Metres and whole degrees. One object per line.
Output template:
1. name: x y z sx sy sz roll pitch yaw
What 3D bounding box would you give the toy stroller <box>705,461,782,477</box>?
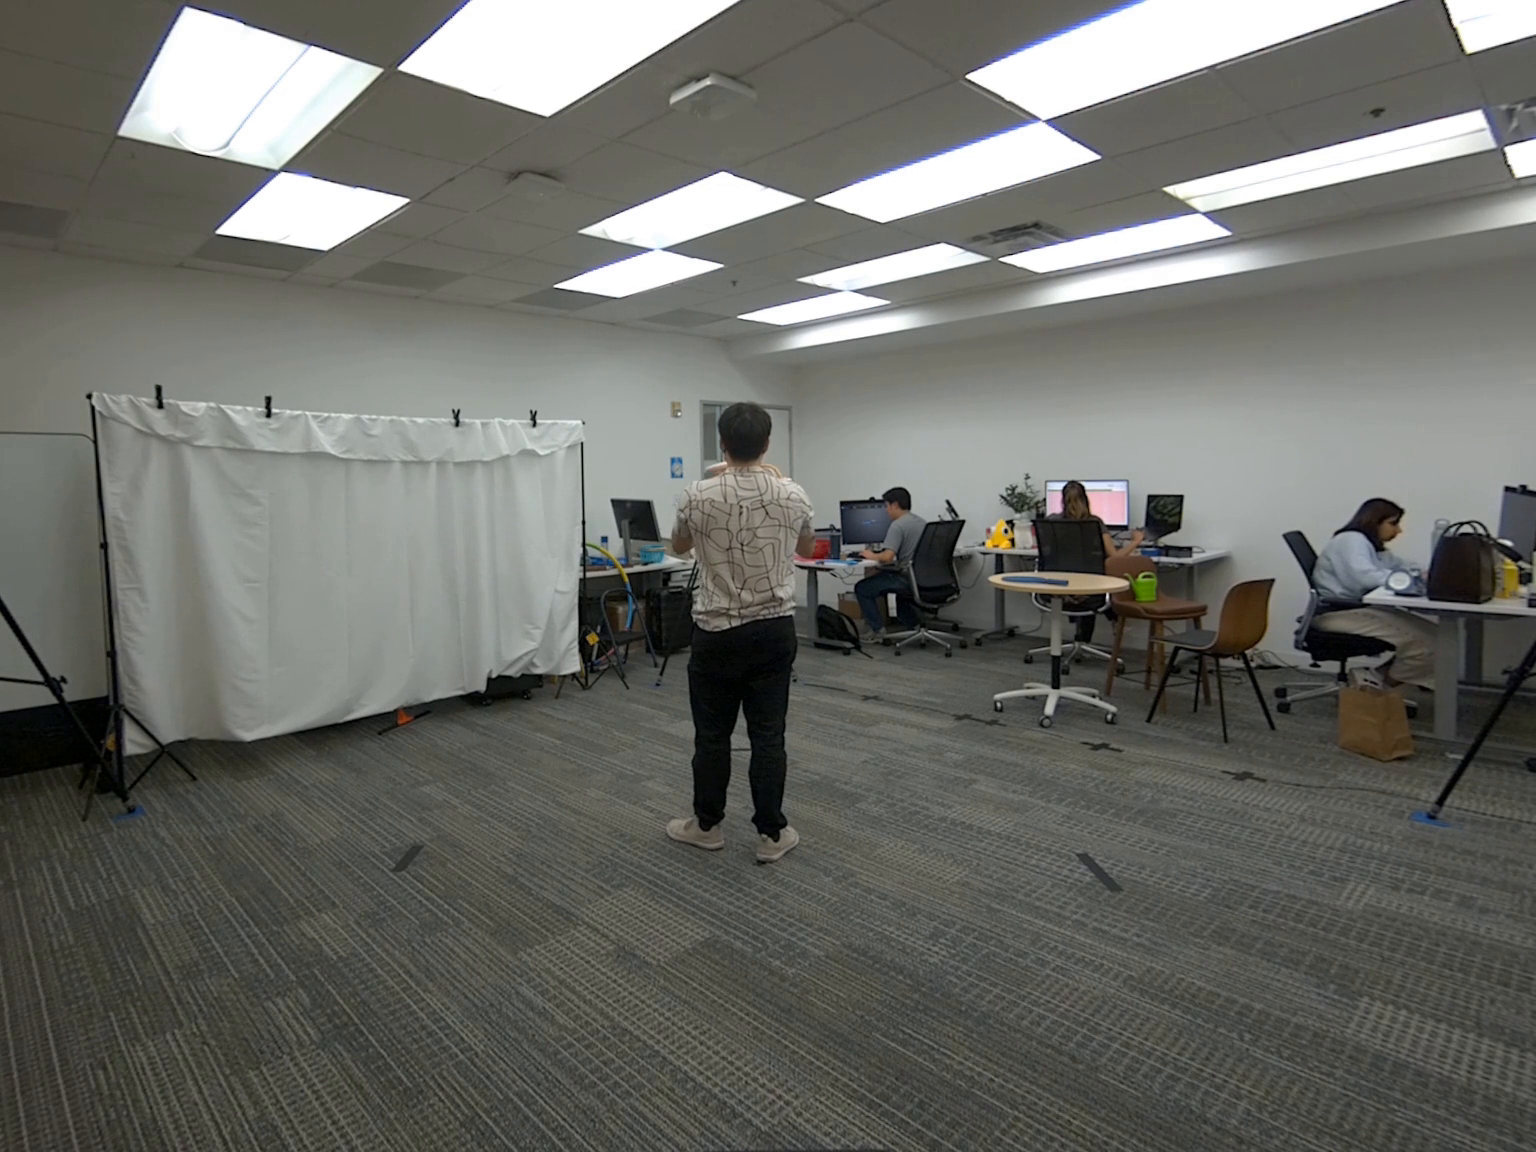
1. toy stroller: -0.100 -0.358 3.687 0.339 0.281 0.540 -17 3 -11
